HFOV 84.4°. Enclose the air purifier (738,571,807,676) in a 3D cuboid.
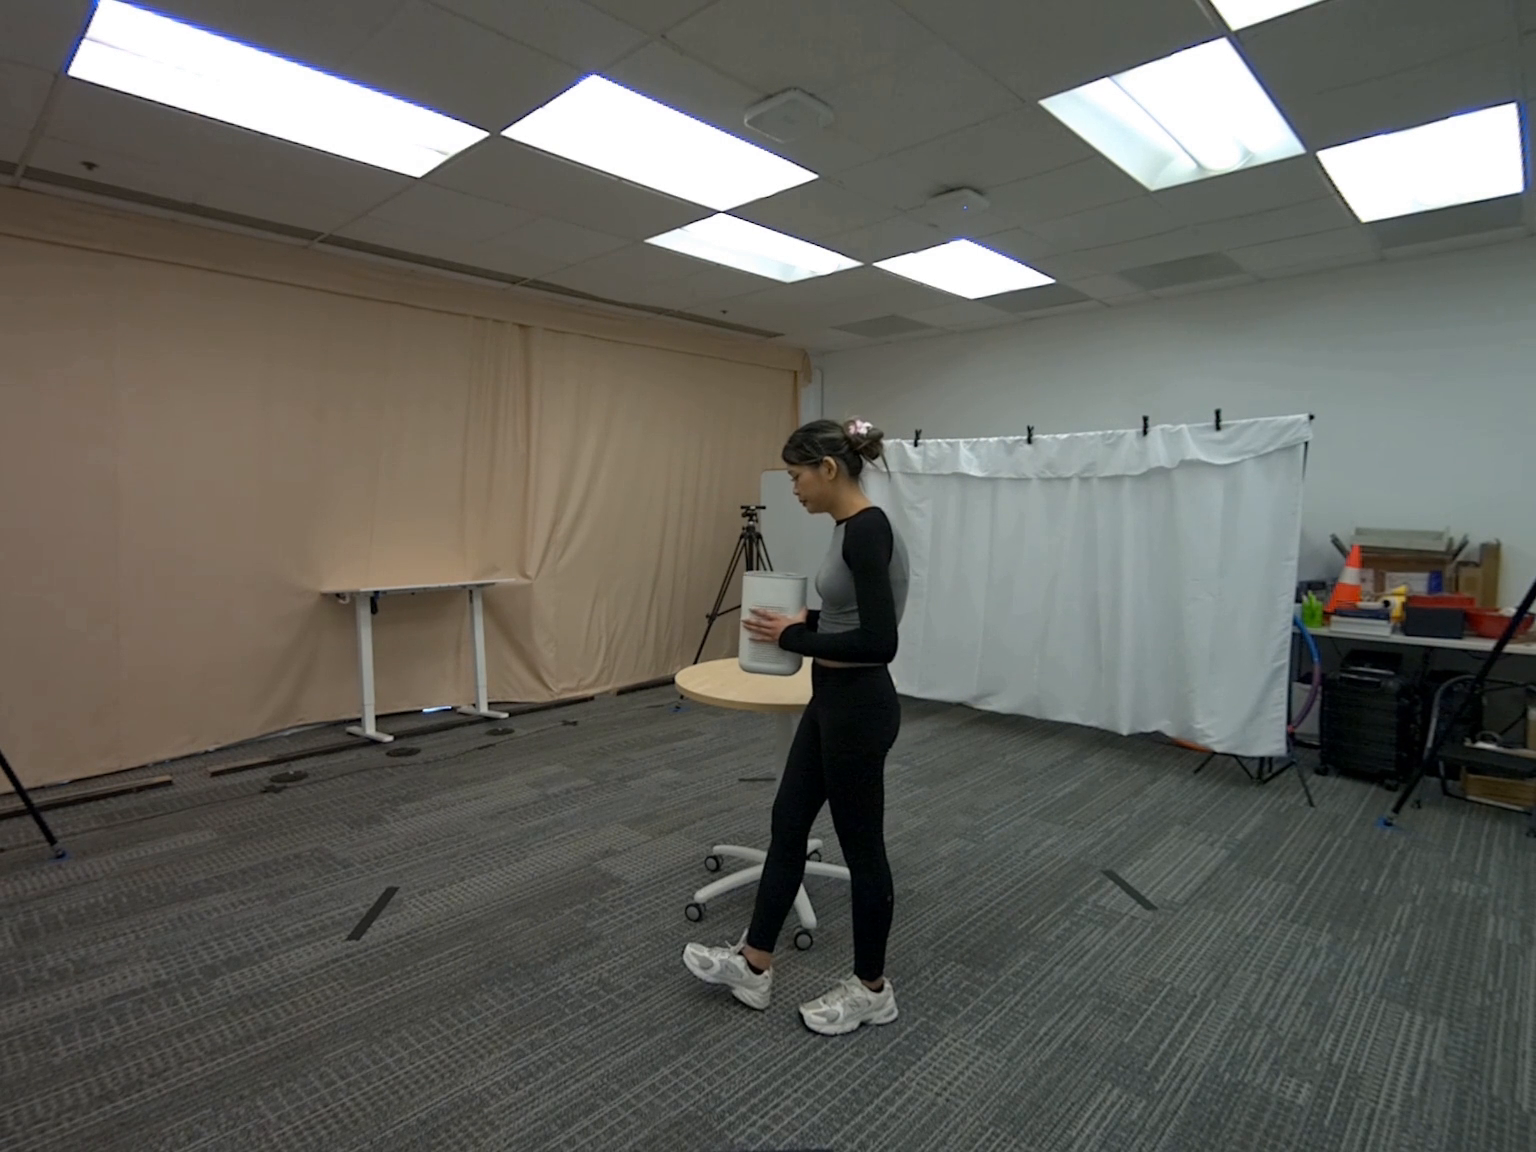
[{"bbox_3d":[0.018,0.129,2.288,0.173,0.265,0.169,4,2,9],"label":"air purifier"}]
